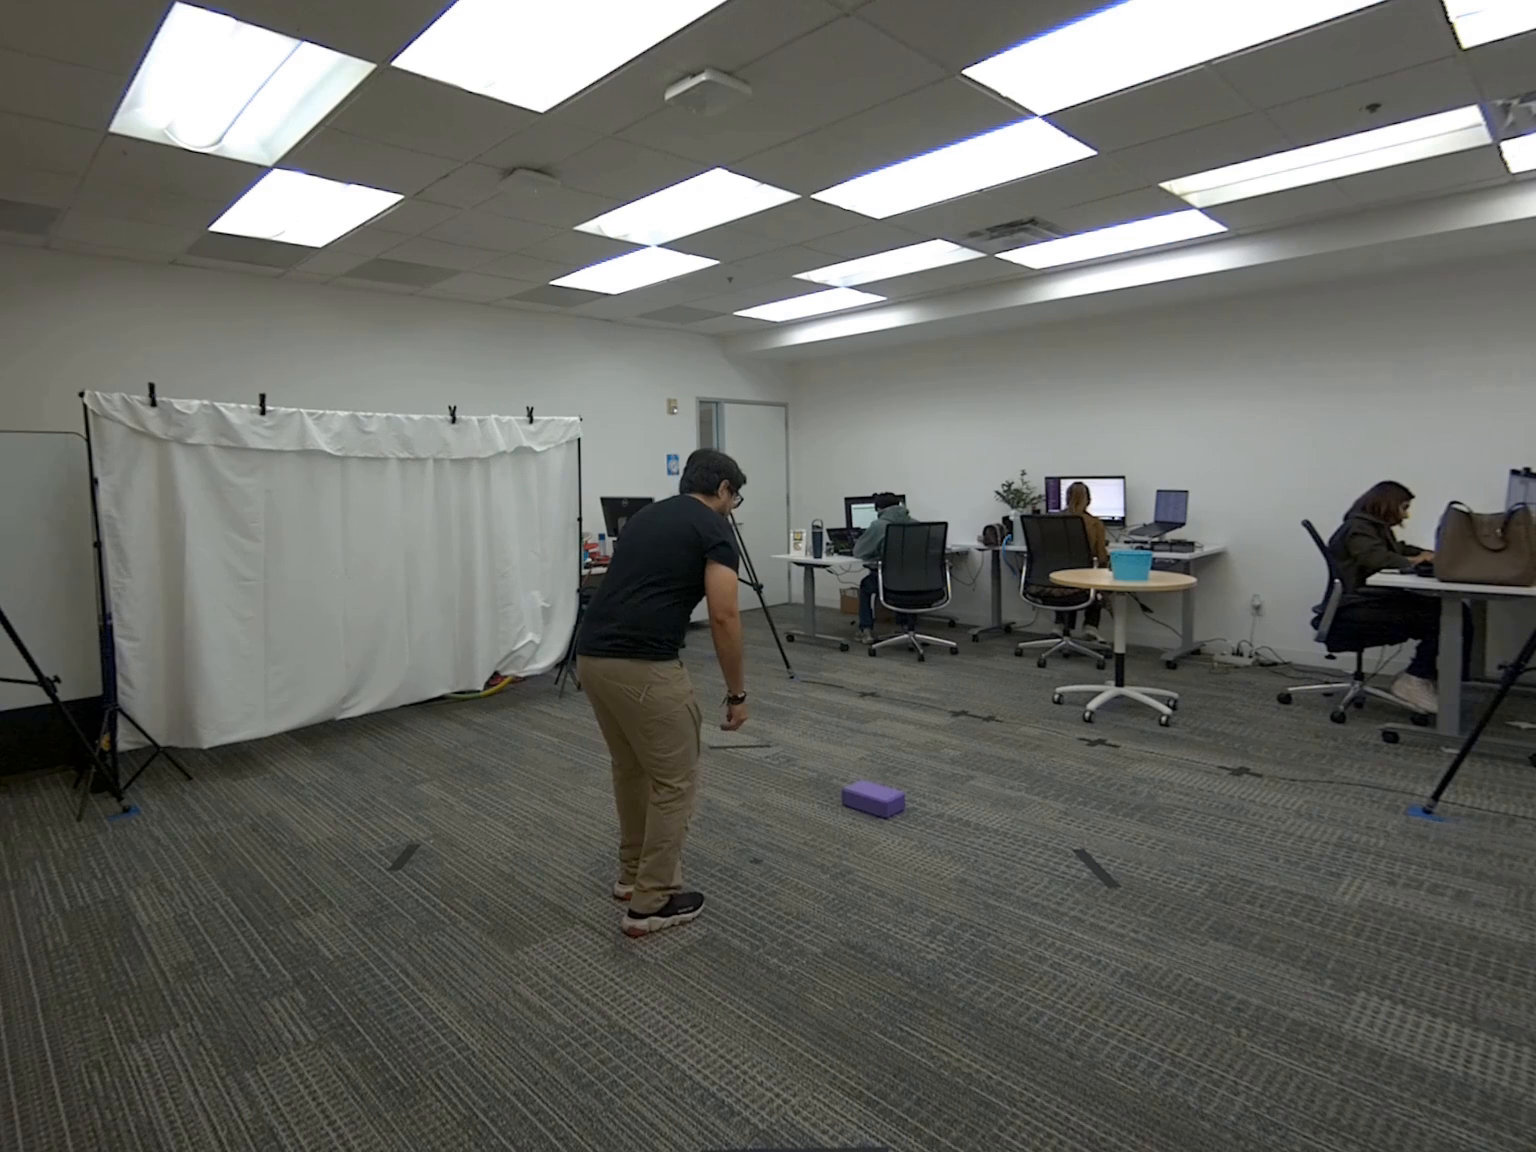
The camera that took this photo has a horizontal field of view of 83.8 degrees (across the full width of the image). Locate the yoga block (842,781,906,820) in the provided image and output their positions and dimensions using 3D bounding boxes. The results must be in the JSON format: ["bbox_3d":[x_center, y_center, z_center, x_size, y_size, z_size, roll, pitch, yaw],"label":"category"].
[{"bbox_3d":[0.443,0.932,3.584,0.236,0.076,0.145,6,9,44],"label":"yoga block"}]
